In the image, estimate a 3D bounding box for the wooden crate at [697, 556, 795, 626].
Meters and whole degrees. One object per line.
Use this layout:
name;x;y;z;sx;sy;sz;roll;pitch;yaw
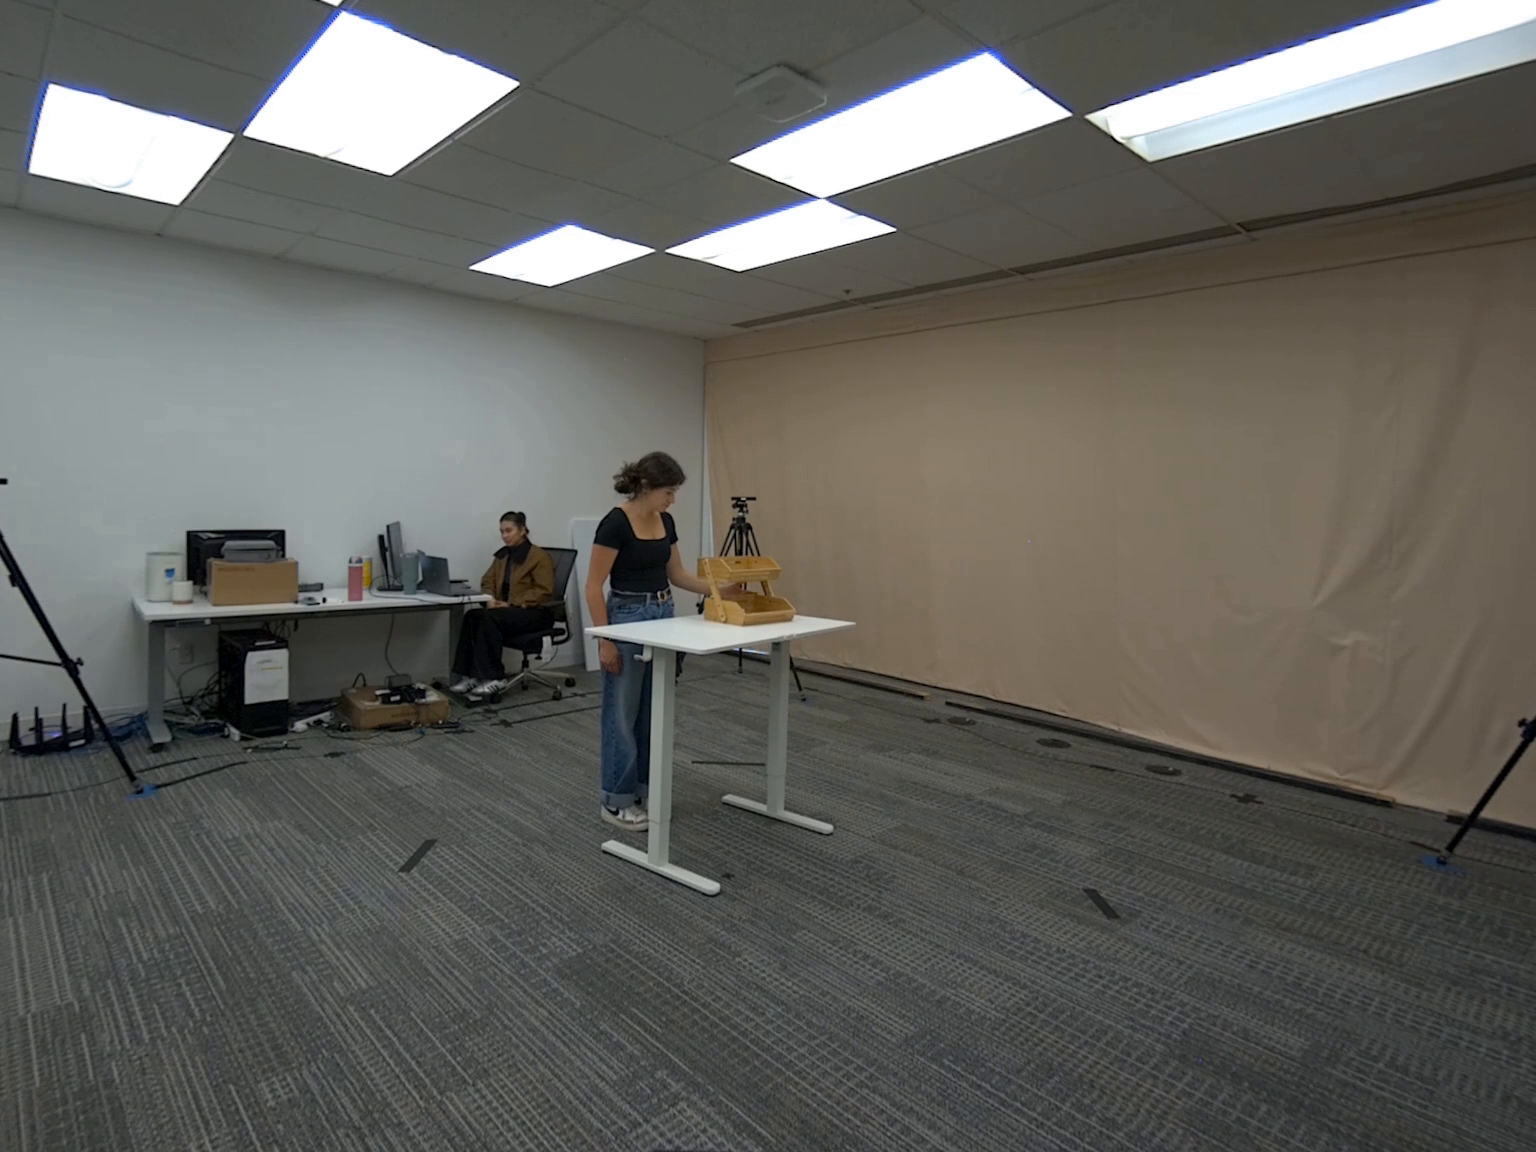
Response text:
wooden crate;-0.104;0.052;3.578;0.310;0.273;0.317;4;5;45
